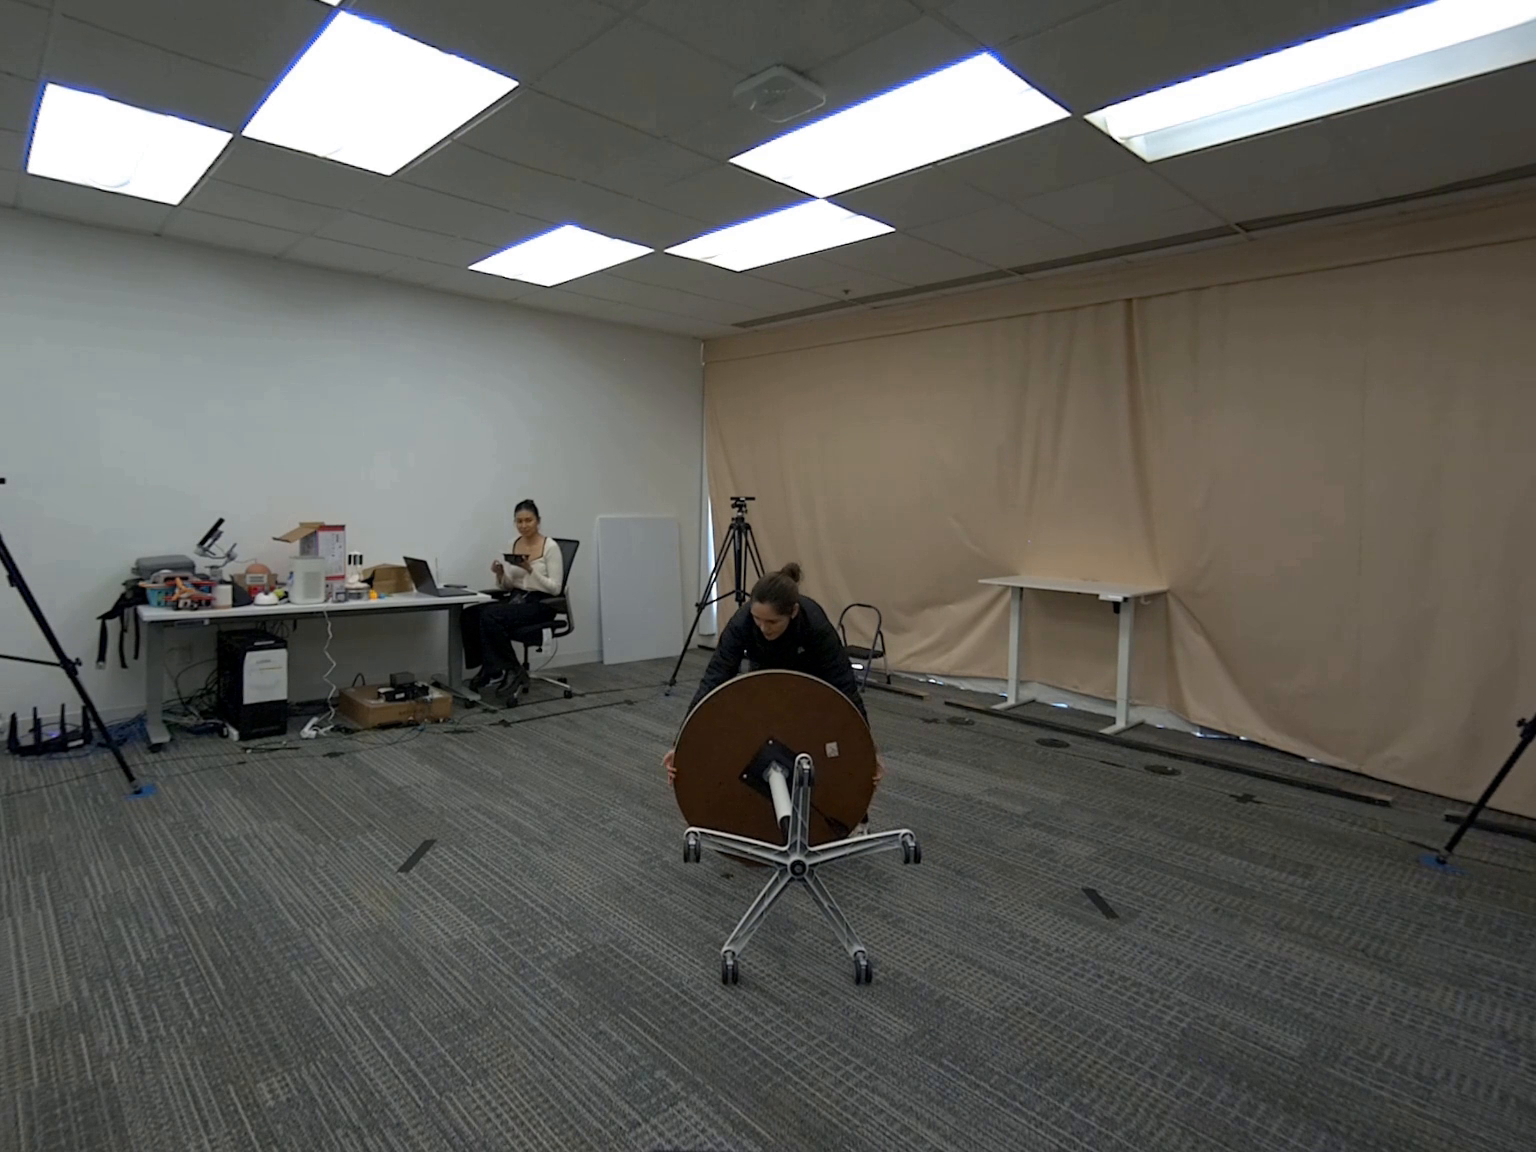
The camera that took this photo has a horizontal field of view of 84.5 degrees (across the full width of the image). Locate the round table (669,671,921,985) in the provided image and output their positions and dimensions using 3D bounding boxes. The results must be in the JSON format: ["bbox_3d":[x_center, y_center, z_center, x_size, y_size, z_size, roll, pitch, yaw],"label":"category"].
[{"bbox_3d":[0.053,0.809,2.745,0.783,0.780,0.793,1,9,-3],"label":"round table"}]
